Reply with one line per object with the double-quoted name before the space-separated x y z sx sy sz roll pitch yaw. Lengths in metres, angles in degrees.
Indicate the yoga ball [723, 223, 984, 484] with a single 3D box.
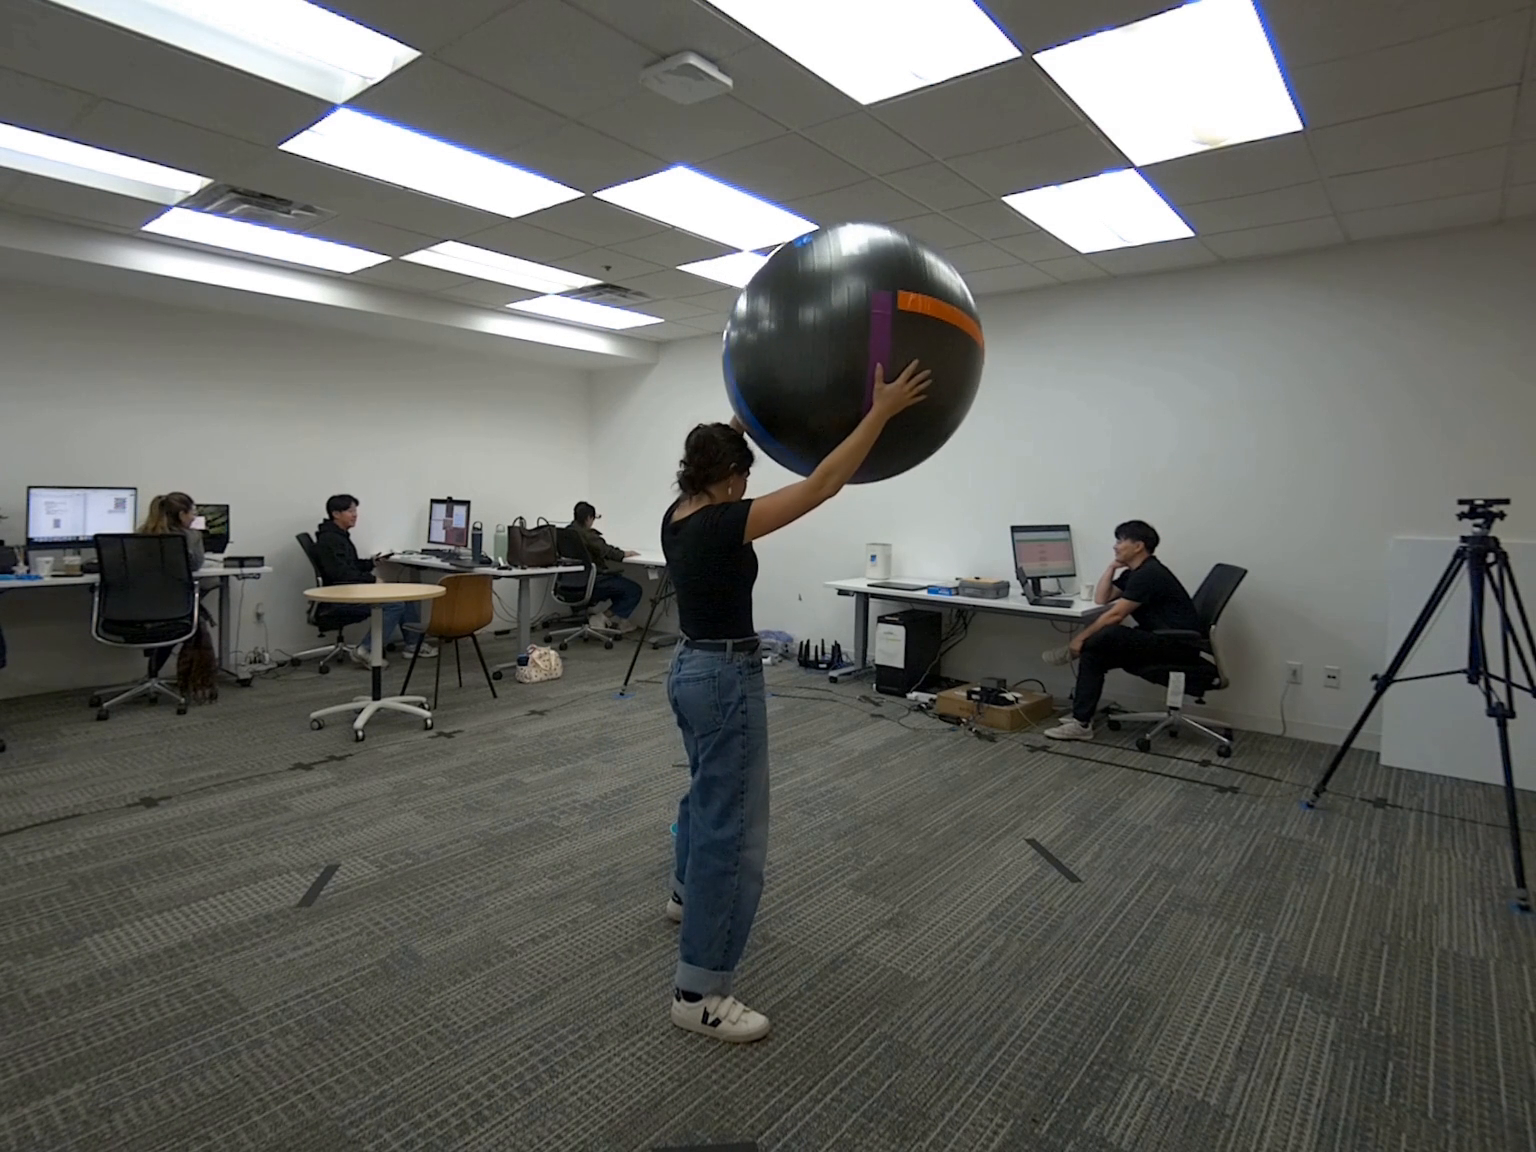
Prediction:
"yoga ball" 0.236 -0.632 2.533 0.757 0.756 0.762 1 4 -2
